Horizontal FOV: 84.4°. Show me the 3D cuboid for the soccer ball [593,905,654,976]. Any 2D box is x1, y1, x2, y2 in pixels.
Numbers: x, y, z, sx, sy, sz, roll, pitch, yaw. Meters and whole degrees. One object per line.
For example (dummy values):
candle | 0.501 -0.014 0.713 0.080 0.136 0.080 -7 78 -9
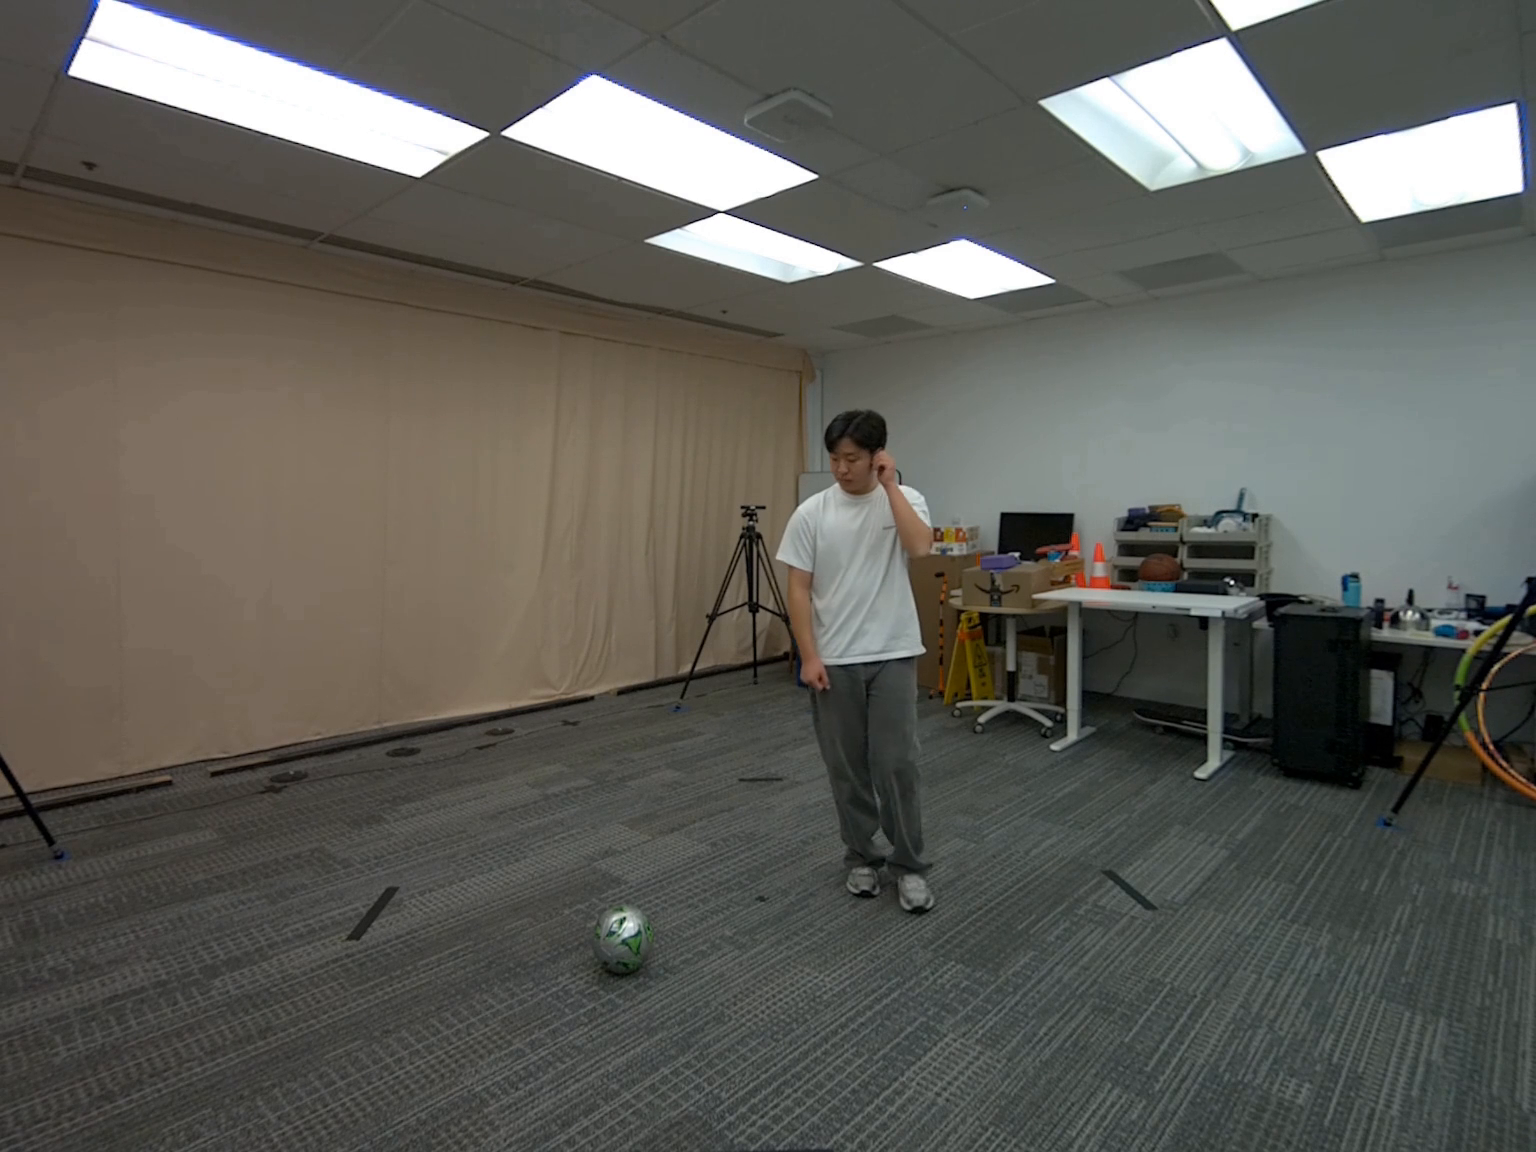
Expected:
soccer ball | -0.427 1.093 2.527 0.187 0.187 0.188 0 4 -2
